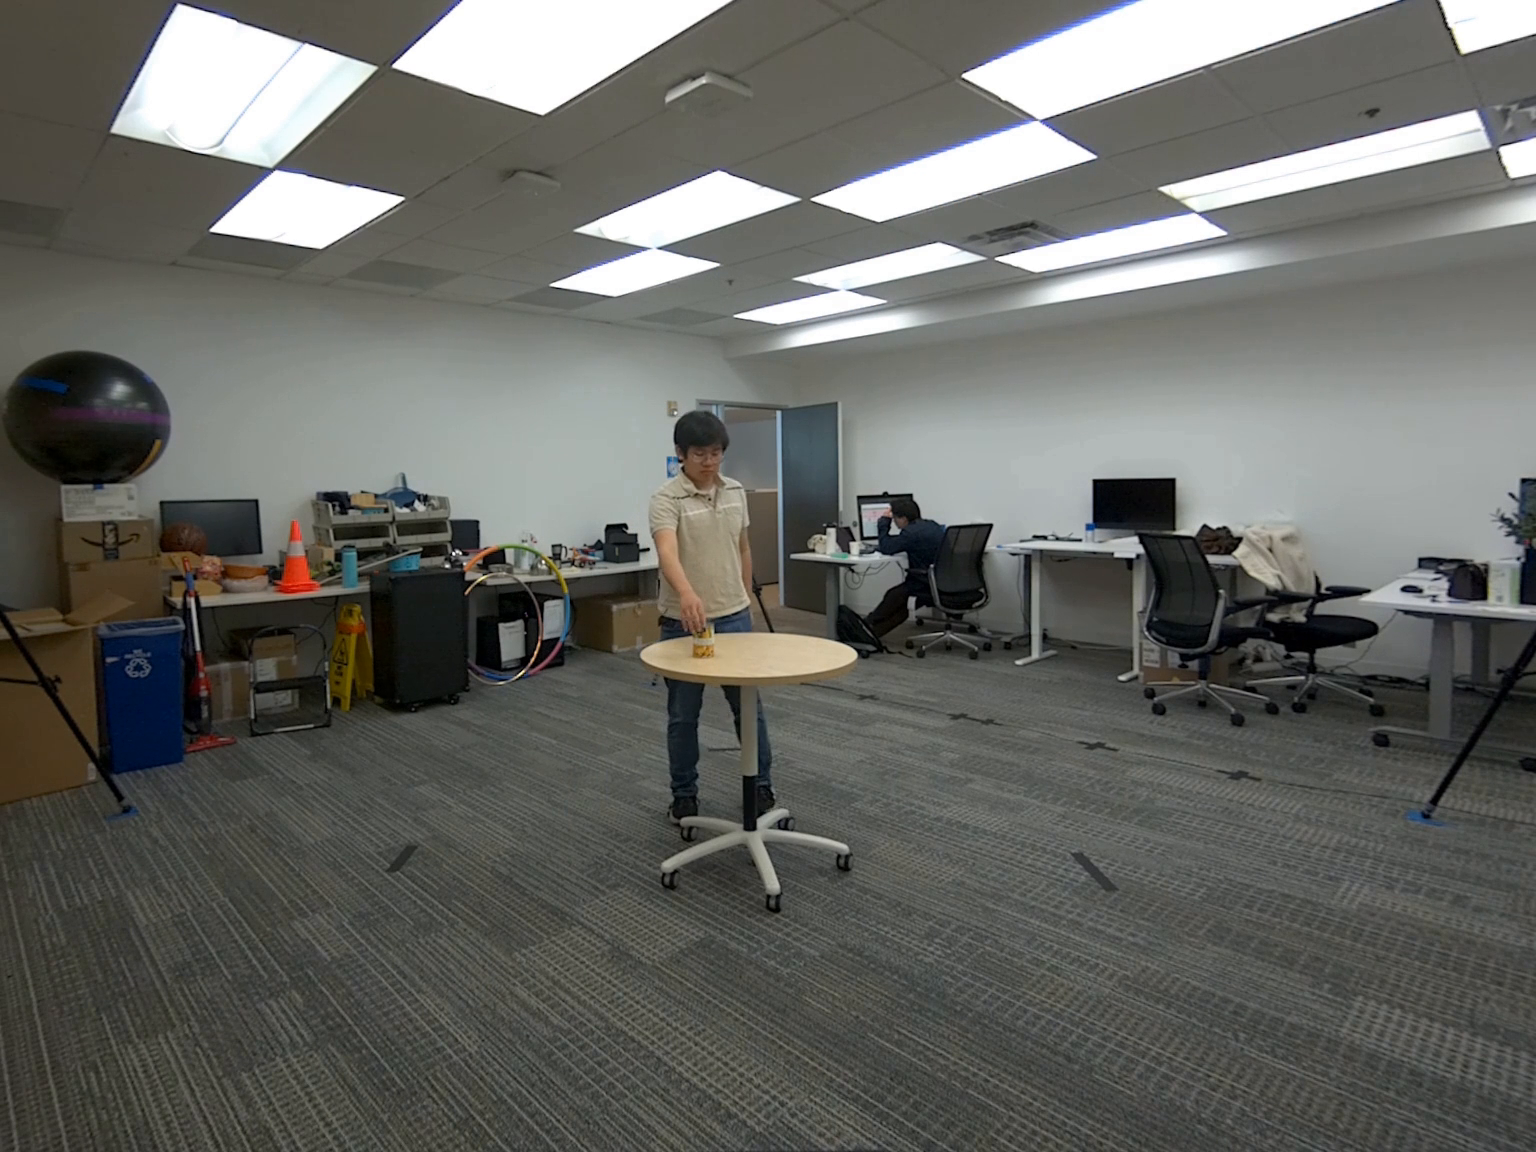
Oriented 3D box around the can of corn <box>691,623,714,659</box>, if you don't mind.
[{"bbox_3d":[-0.224,0.227,2.963,0.074,0.111,0.074,-3,3,-1],"label":"can of corn"}]
